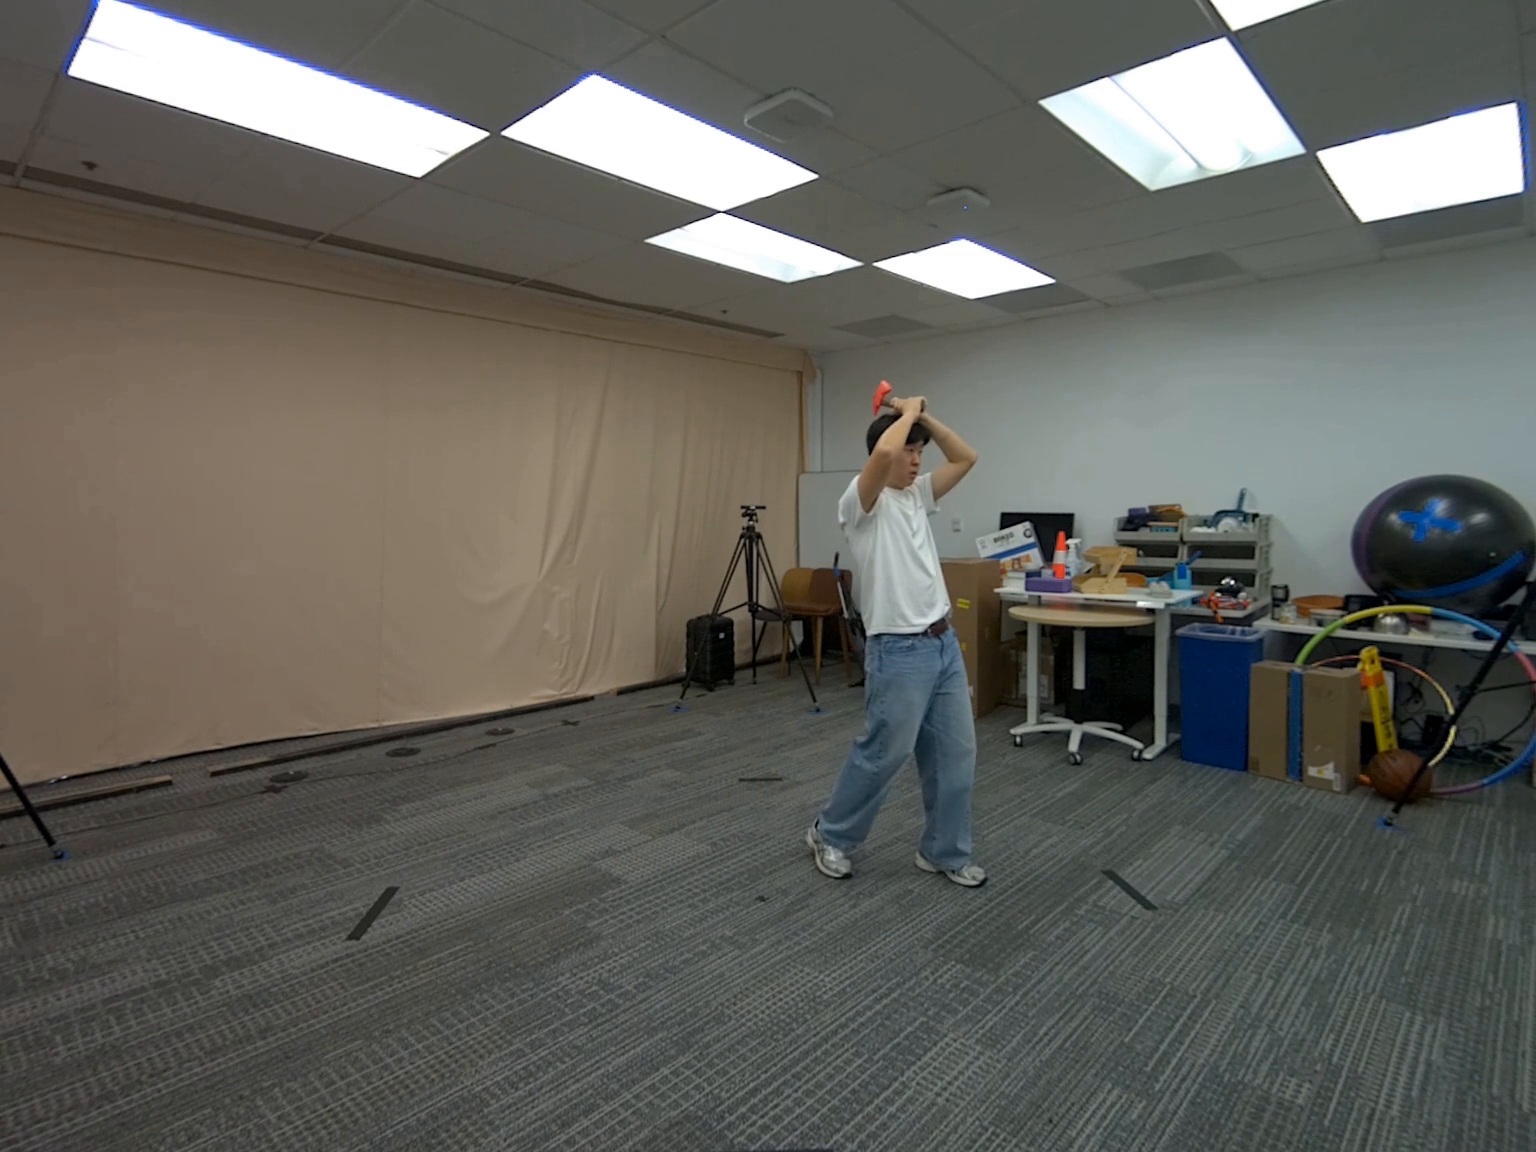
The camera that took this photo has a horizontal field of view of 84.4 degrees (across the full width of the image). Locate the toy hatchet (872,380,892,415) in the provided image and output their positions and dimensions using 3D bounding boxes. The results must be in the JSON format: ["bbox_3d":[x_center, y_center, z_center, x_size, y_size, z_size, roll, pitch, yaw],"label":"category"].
[{"bbox_3d":[0.481,-0.670,3.123,0.029,0.131,0.278,2,4,-29],"label":"toy hatchet"}]
